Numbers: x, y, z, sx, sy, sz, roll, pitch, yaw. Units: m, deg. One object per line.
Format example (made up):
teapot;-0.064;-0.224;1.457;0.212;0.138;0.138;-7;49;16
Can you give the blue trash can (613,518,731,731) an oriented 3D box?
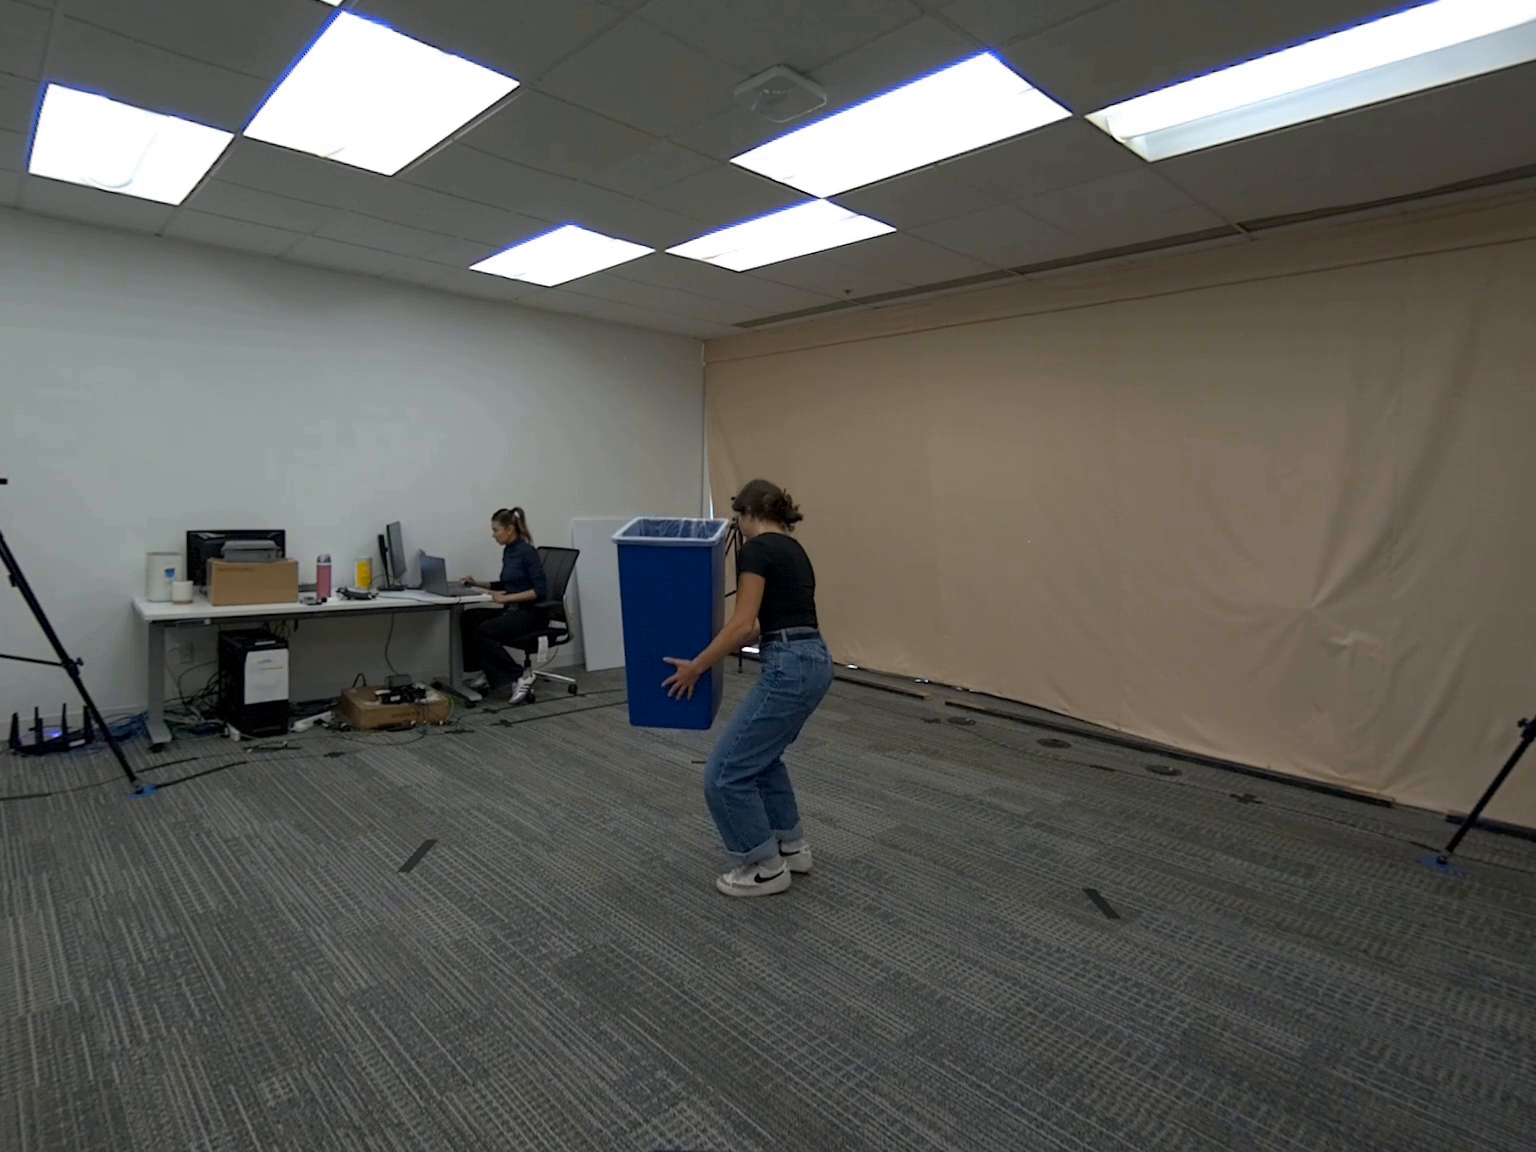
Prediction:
blue trash can;-0.339;0.174;3.102;0.380;0.707;0.375;1;12;5
